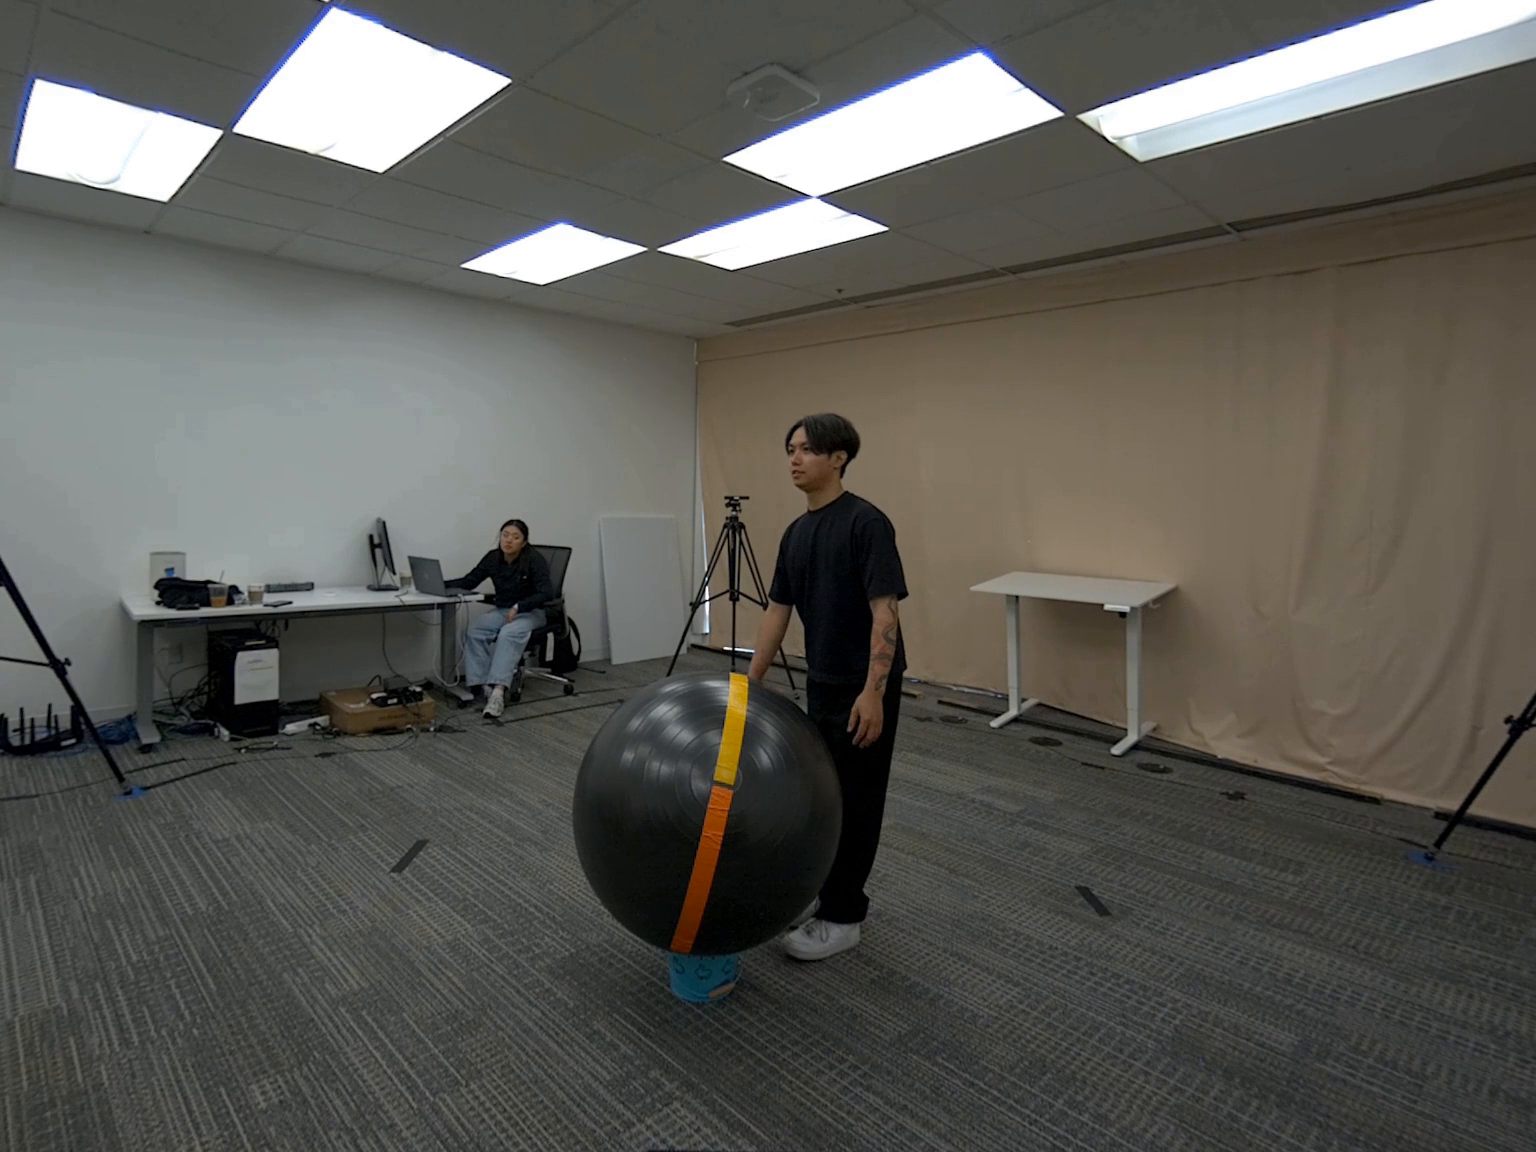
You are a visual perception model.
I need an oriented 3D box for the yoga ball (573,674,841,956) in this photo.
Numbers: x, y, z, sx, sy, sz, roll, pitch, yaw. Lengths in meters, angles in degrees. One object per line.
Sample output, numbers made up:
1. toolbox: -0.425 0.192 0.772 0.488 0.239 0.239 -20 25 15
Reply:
1. yoga ball: -0.177 0.664 2.367 0.757 0.756 0.761 1 4 -1
